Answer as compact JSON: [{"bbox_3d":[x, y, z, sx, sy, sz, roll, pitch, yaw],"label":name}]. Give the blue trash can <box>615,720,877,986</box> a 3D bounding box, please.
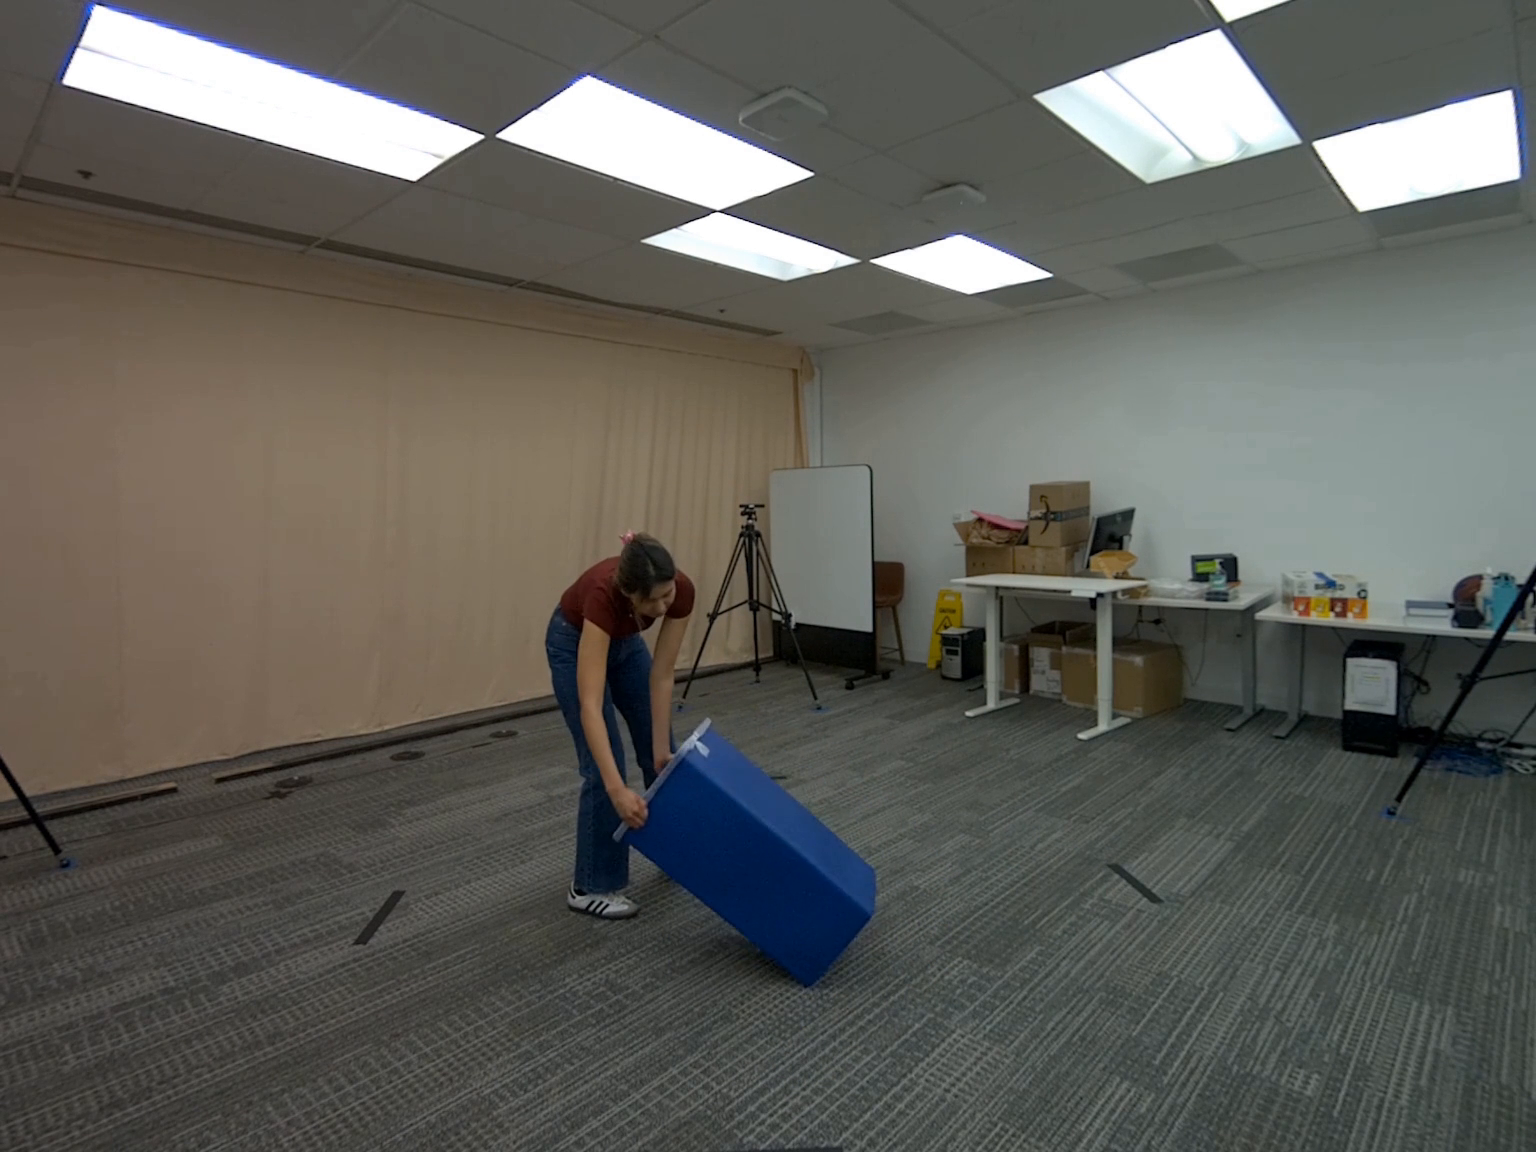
[{"bbox_3d":[-0.062,0.840,2.585,0.721,0.374,0.374,39,9,7],"label":"blue trash can"}]
